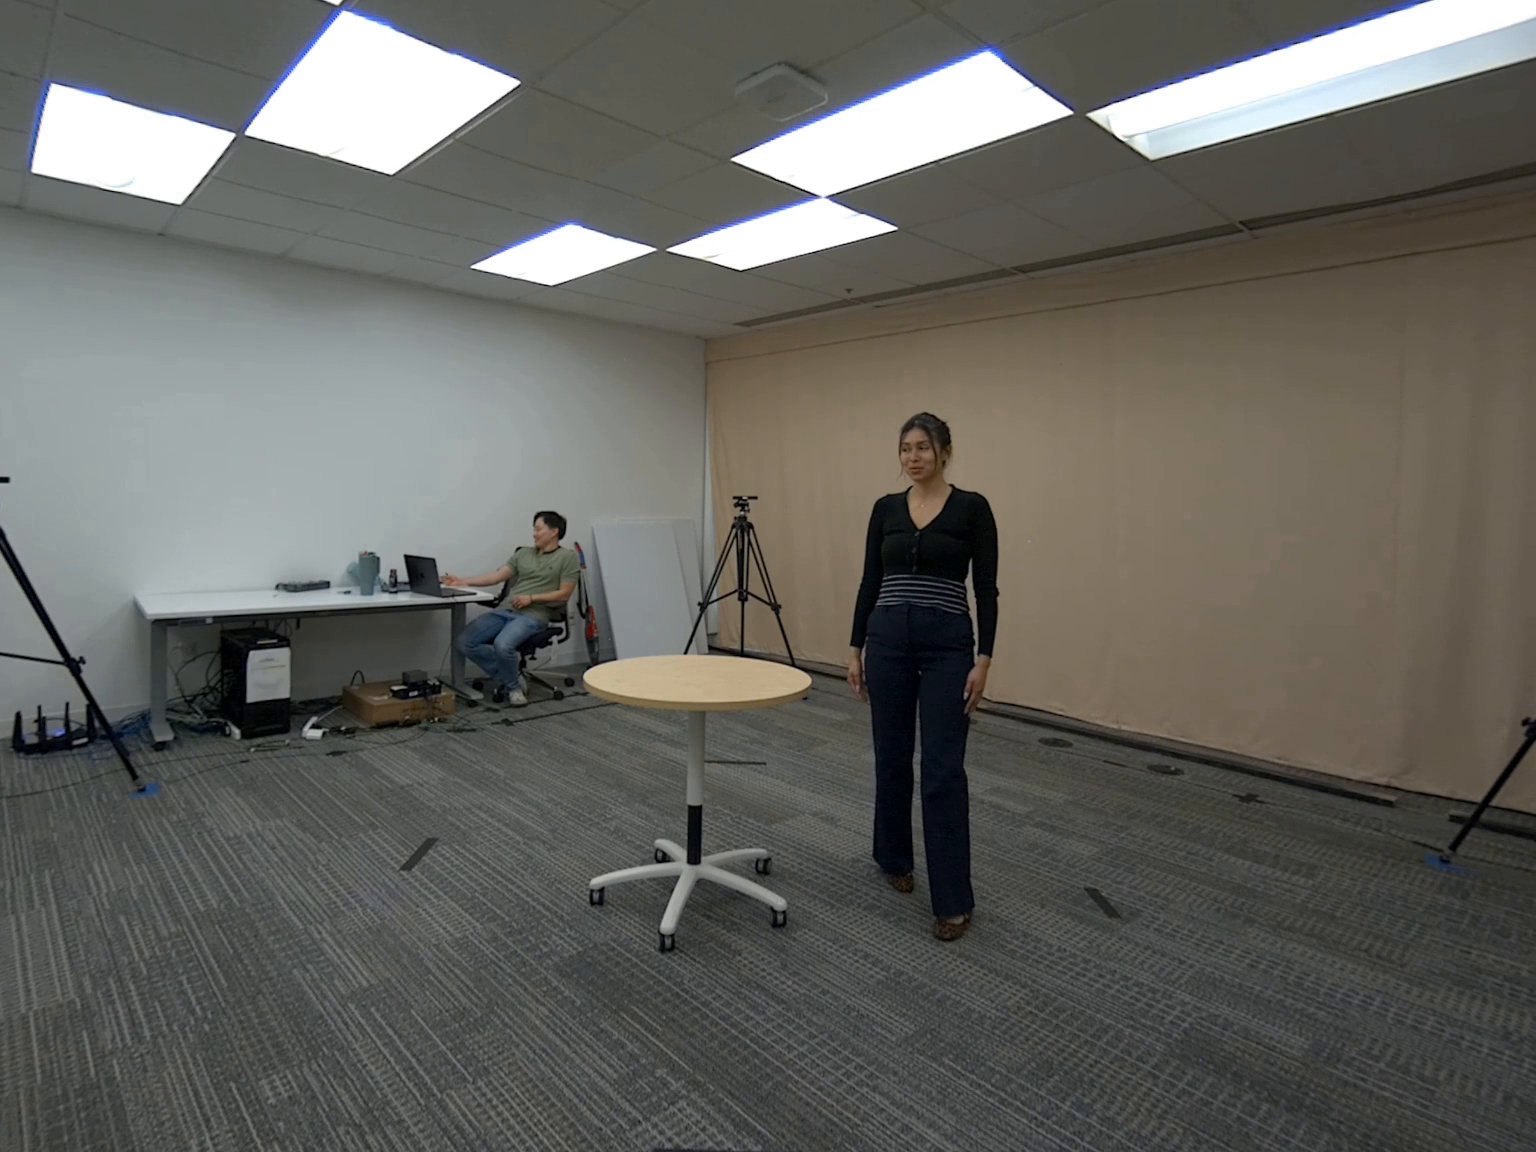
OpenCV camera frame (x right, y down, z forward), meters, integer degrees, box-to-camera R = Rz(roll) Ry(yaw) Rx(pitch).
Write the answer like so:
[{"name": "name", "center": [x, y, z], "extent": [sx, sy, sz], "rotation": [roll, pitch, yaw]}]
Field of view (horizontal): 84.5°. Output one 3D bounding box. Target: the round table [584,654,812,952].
[{"name": "round table", "center": [-0.252, 0.732, 2.861], "extent": [0.763, 0.792, 0.766], "rotation": [1, 4, -1]}]
